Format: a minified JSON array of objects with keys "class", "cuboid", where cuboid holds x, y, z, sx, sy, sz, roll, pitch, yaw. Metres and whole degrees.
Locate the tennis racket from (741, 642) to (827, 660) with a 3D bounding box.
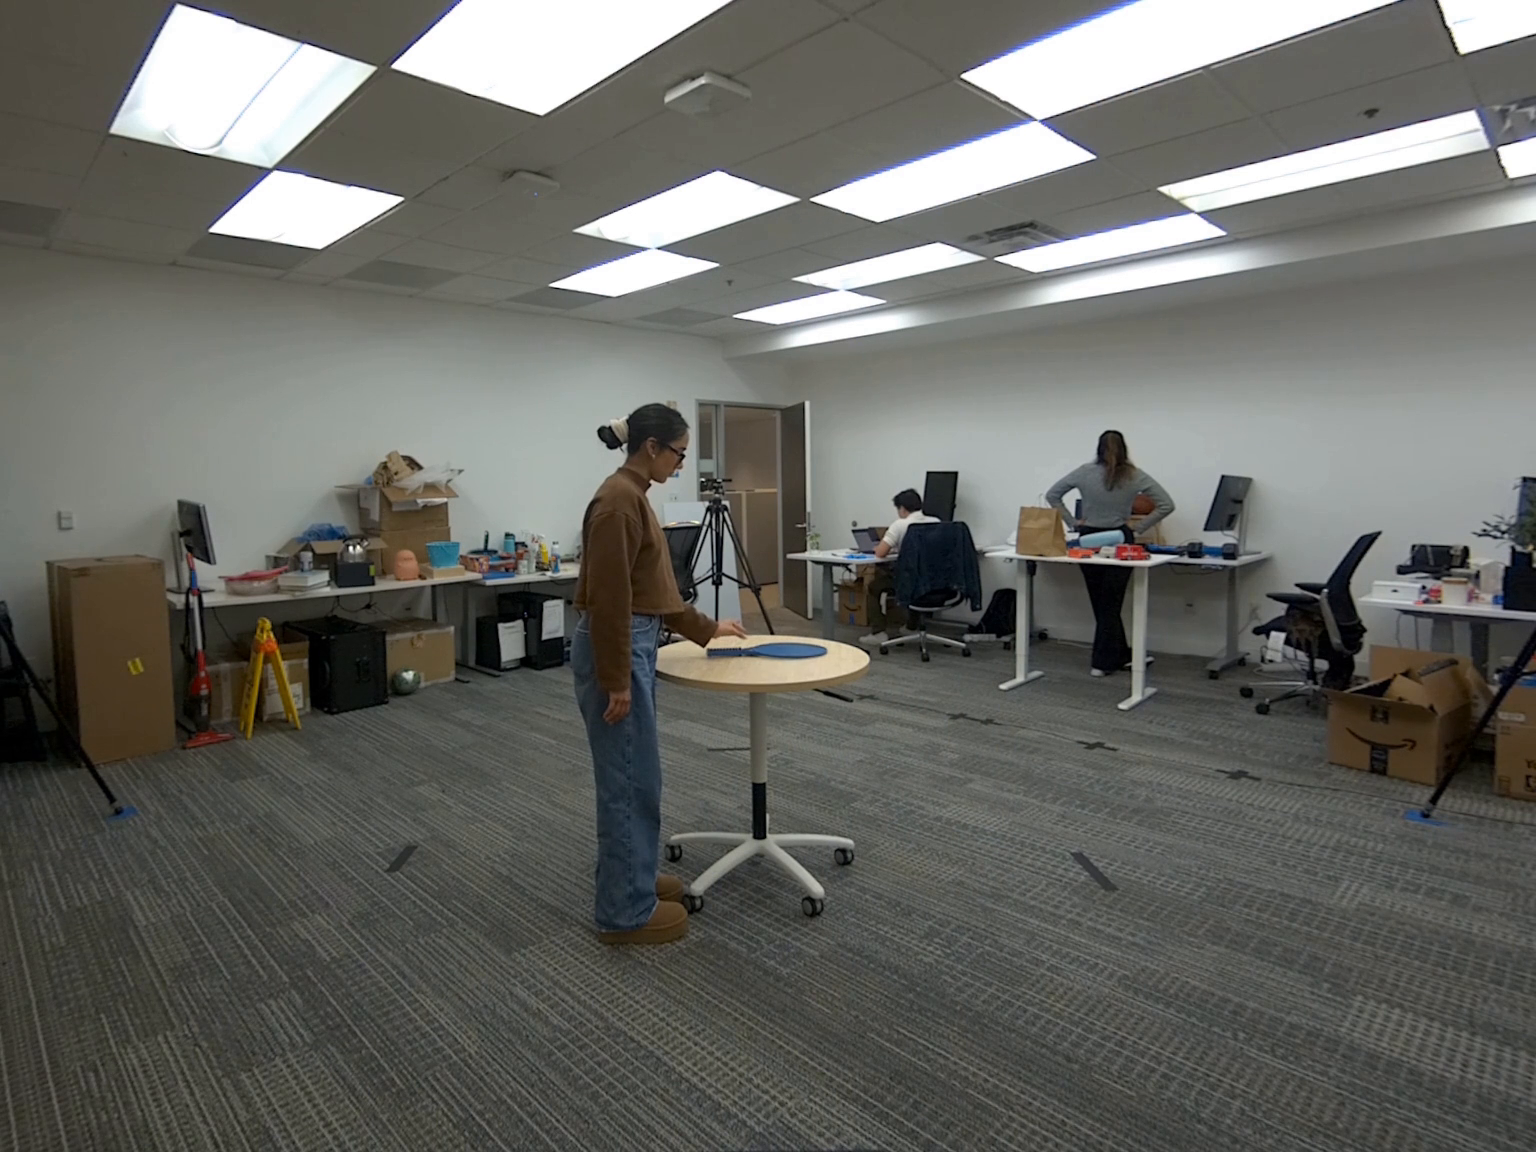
[{"class":"tennis racket","cuboid":[0.003,0.261,2.992,0.428,0.031,0.217,-1,6,-13]}]
